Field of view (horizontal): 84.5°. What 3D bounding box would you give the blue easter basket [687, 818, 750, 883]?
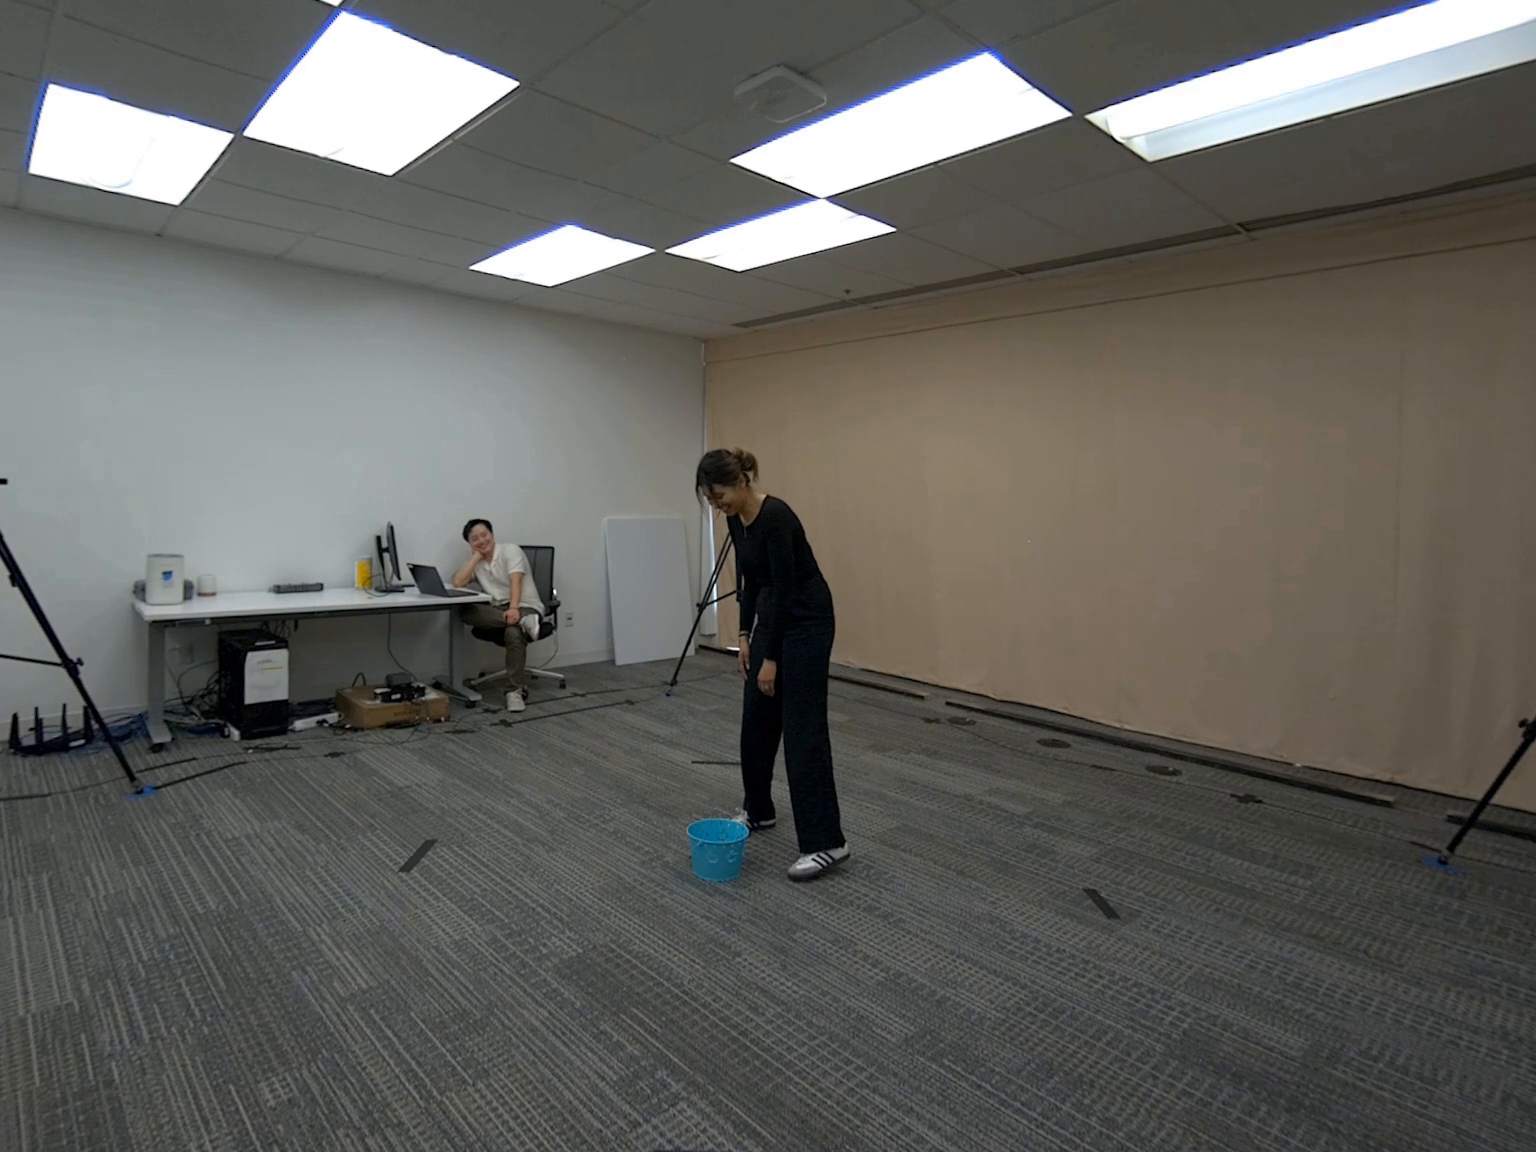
[{"bbox_3d":[-0.200,1.022,3.152,0.243,0.155,0.244,2,5,-1],"label":"blue easter basket"}]
